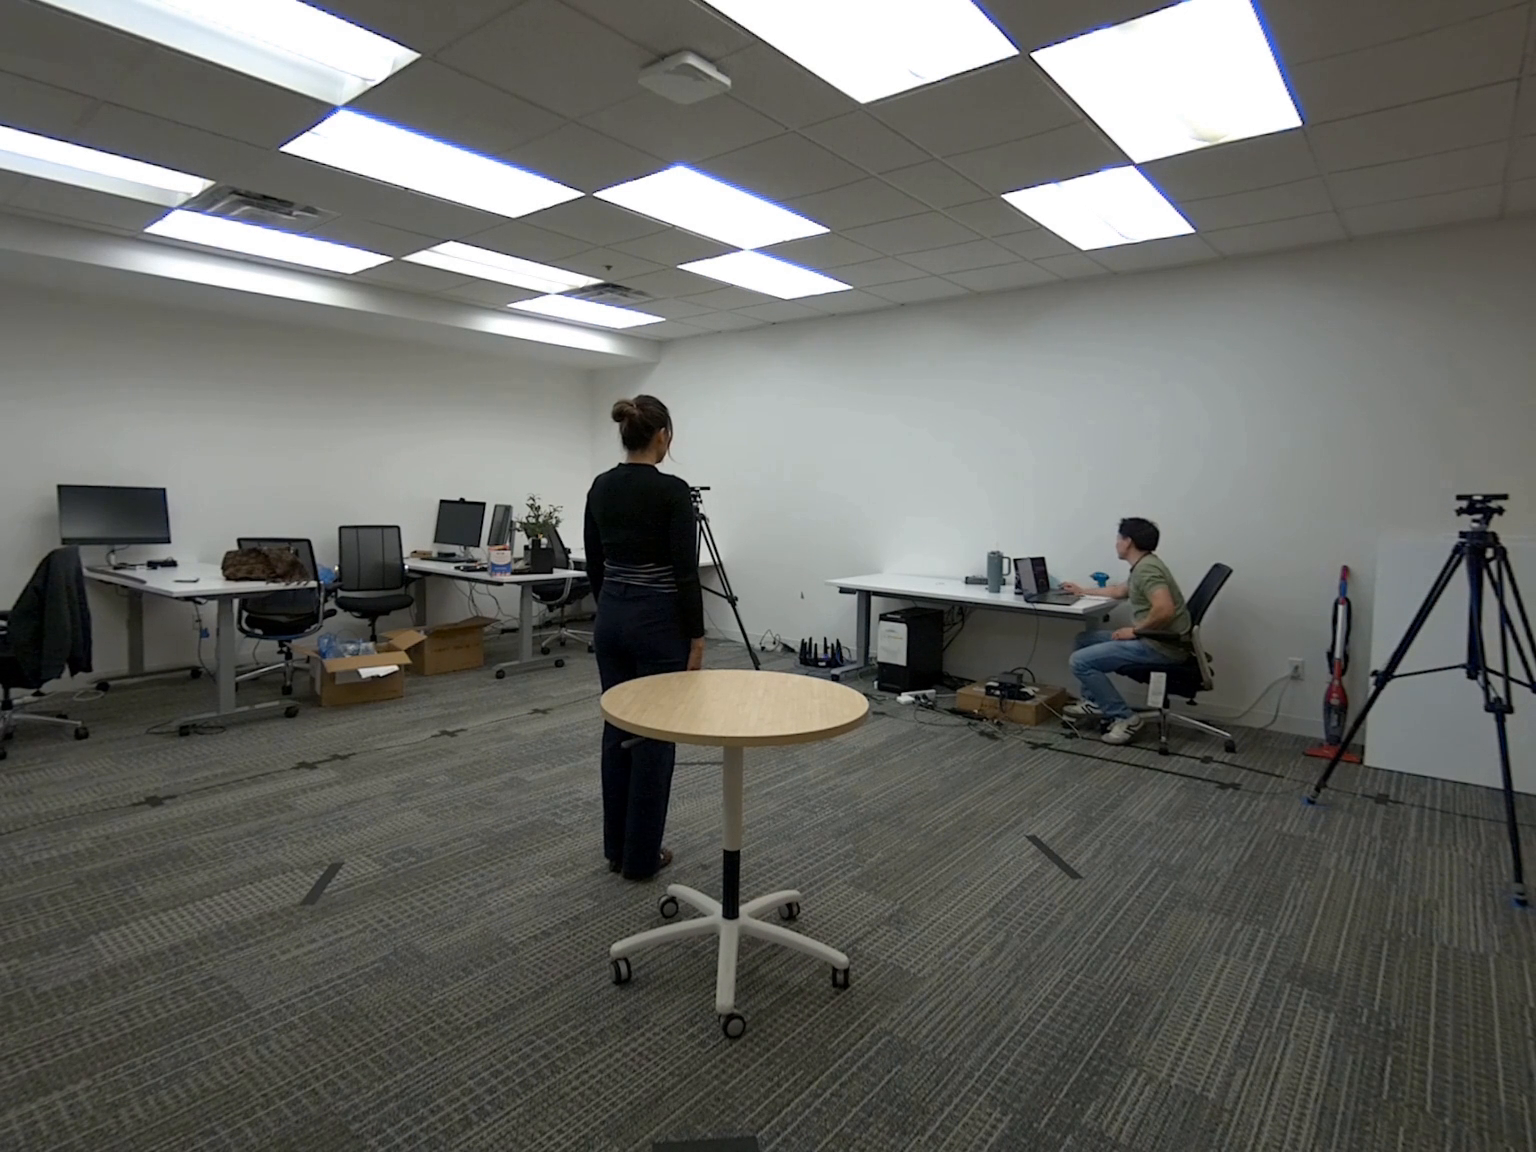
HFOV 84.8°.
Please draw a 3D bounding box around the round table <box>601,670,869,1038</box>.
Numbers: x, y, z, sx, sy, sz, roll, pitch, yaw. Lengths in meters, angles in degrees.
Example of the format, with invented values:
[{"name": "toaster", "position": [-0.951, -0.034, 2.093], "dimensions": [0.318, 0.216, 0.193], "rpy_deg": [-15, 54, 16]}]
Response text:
[{"name": "round table", "position": [-0.109, 0.741, 2.467], "dimensions": [0.763, 0.791, 0.768], "rpy_deg": [1, 5, -2]}]
